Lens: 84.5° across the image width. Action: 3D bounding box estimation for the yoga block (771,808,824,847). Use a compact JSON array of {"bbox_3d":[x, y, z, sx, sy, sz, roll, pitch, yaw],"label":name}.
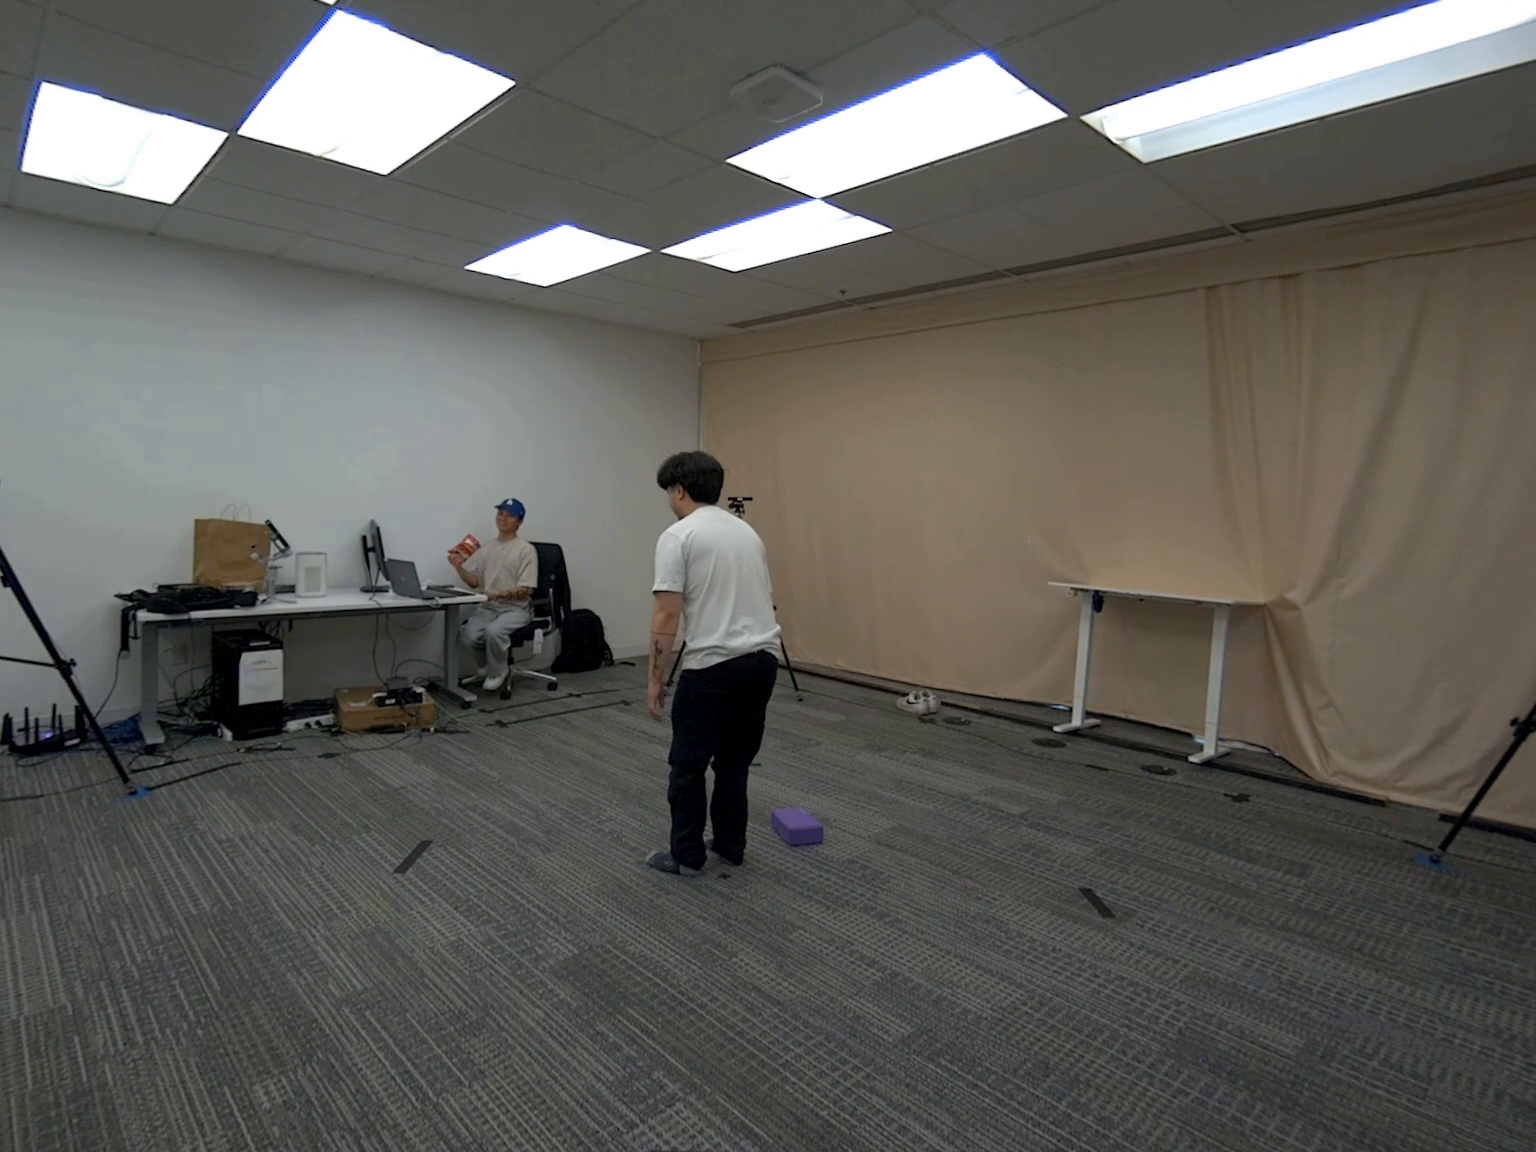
[{"bbox_3d":[0.111,1.040,3.504,0.147,0.076,0.233,0,4,-18],"label":"yoga block"}]
